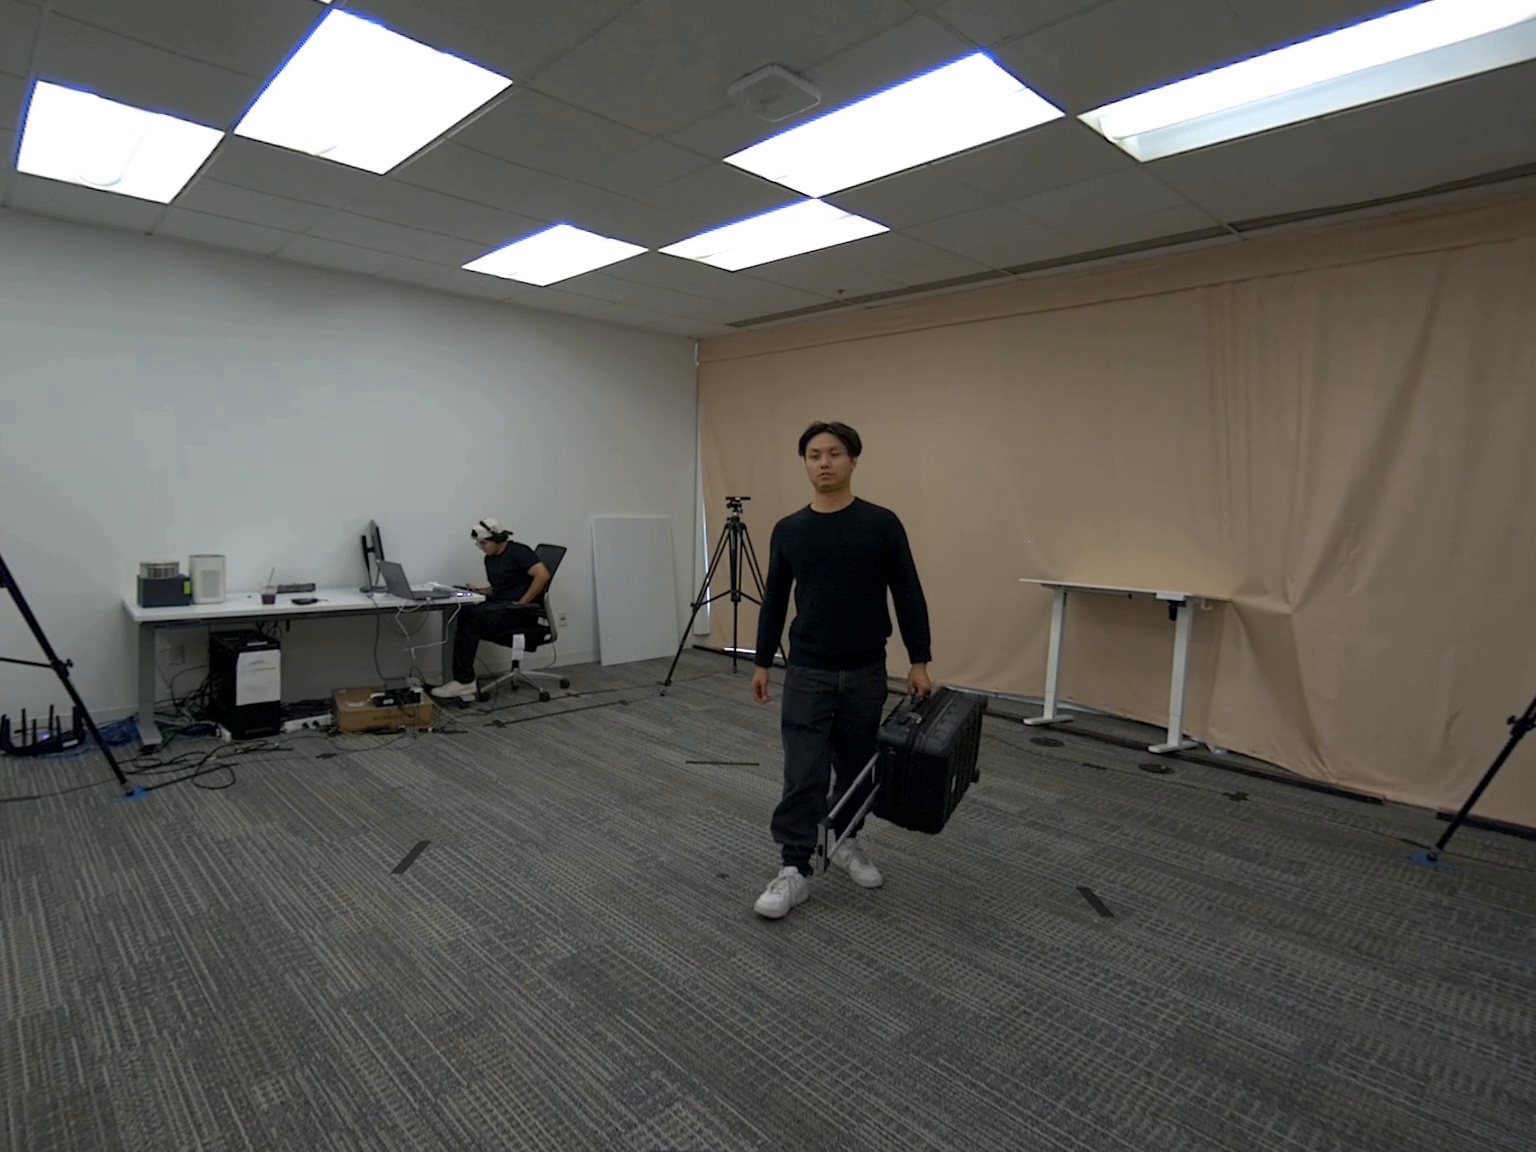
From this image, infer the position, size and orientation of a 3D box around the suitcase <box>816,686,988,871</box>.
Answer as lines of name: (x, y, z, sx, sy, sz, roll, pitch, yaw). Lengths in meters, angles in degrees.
suitcase: (0.469, 0.669, 2.741, 0.262, 0.380, 0.968, 10, 17, 24)
